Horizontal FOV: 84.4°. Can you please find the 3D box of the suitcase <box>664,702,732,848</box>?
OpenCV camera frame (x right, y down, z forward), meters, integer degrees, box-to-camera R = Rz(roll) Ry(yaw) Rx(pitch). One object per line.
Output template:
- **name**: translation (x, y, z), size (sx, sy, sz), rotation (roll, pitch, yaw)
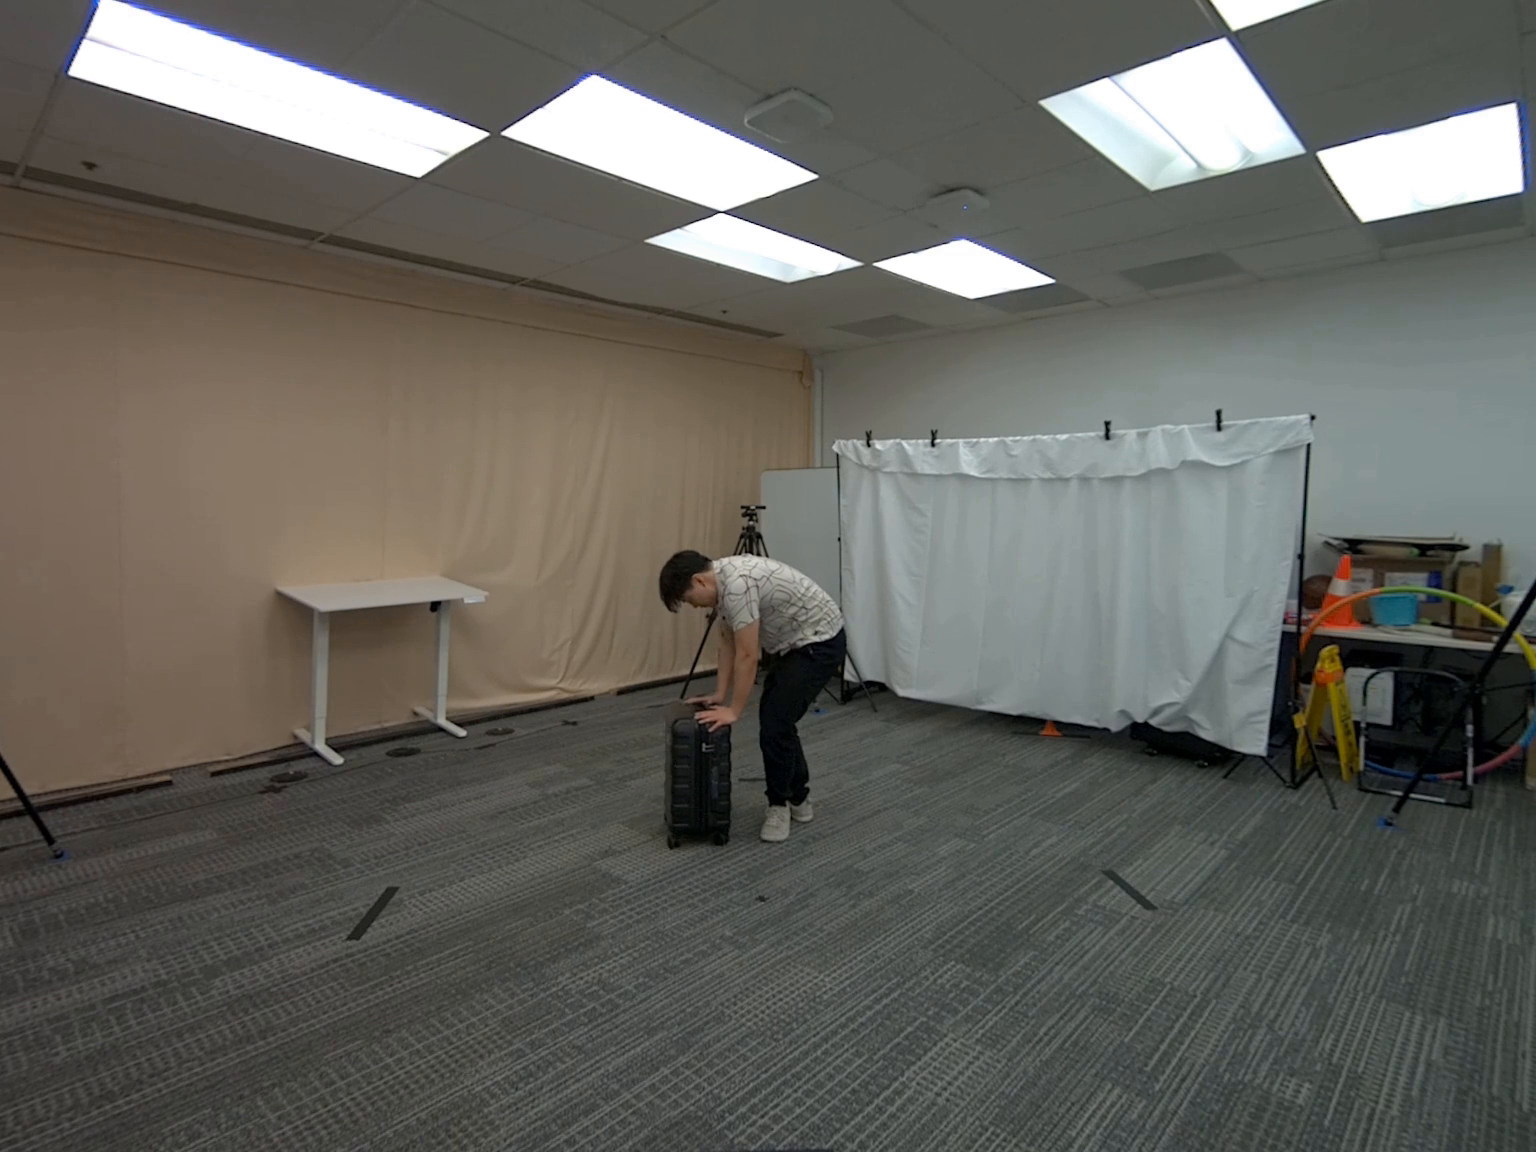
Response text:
- **suitcase**: translation (-0.299, 0.823, 3.568), size (0.246, 0.548, 0.380), rotation (-1, 4, -10)
